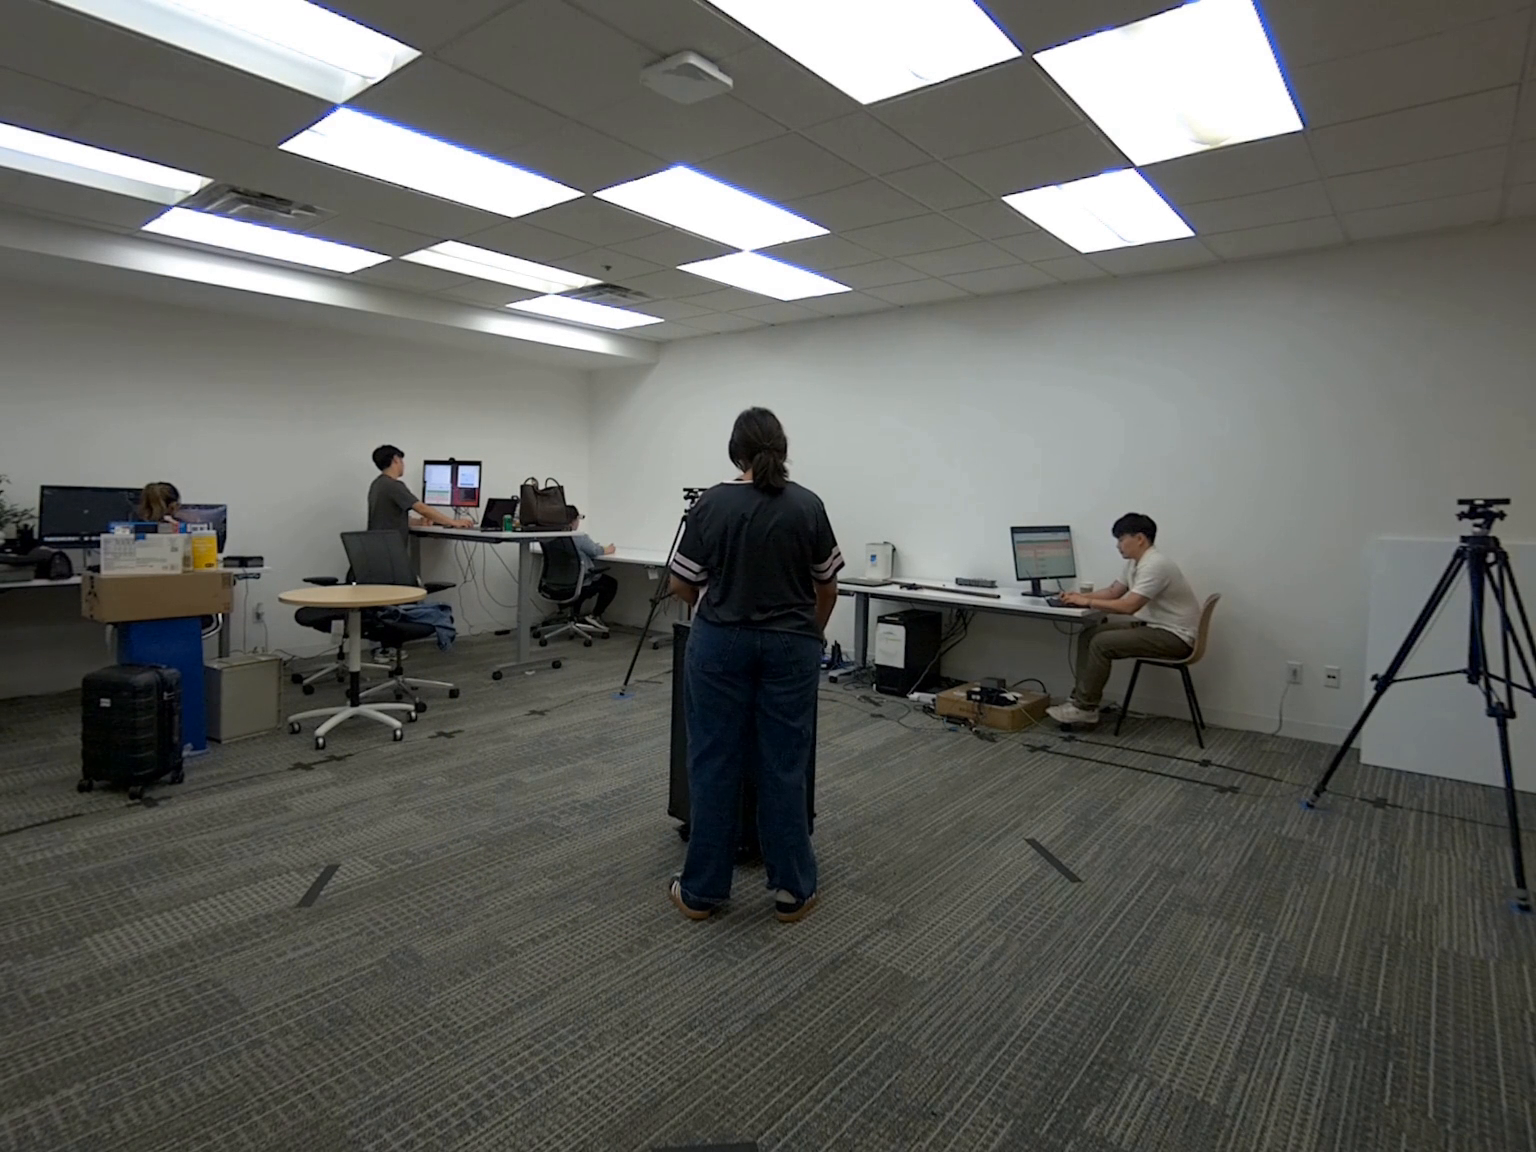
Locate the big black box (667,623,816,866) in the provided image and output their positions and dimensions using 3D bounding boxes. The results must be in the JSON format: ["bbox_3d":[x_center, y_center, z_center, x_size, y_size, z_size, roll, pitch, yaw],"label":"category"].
[{"bbox_3d":[-0.116,0.622,3.348,0.373,0.867,0.541,0,3,-41],"label":"big black box"}]
